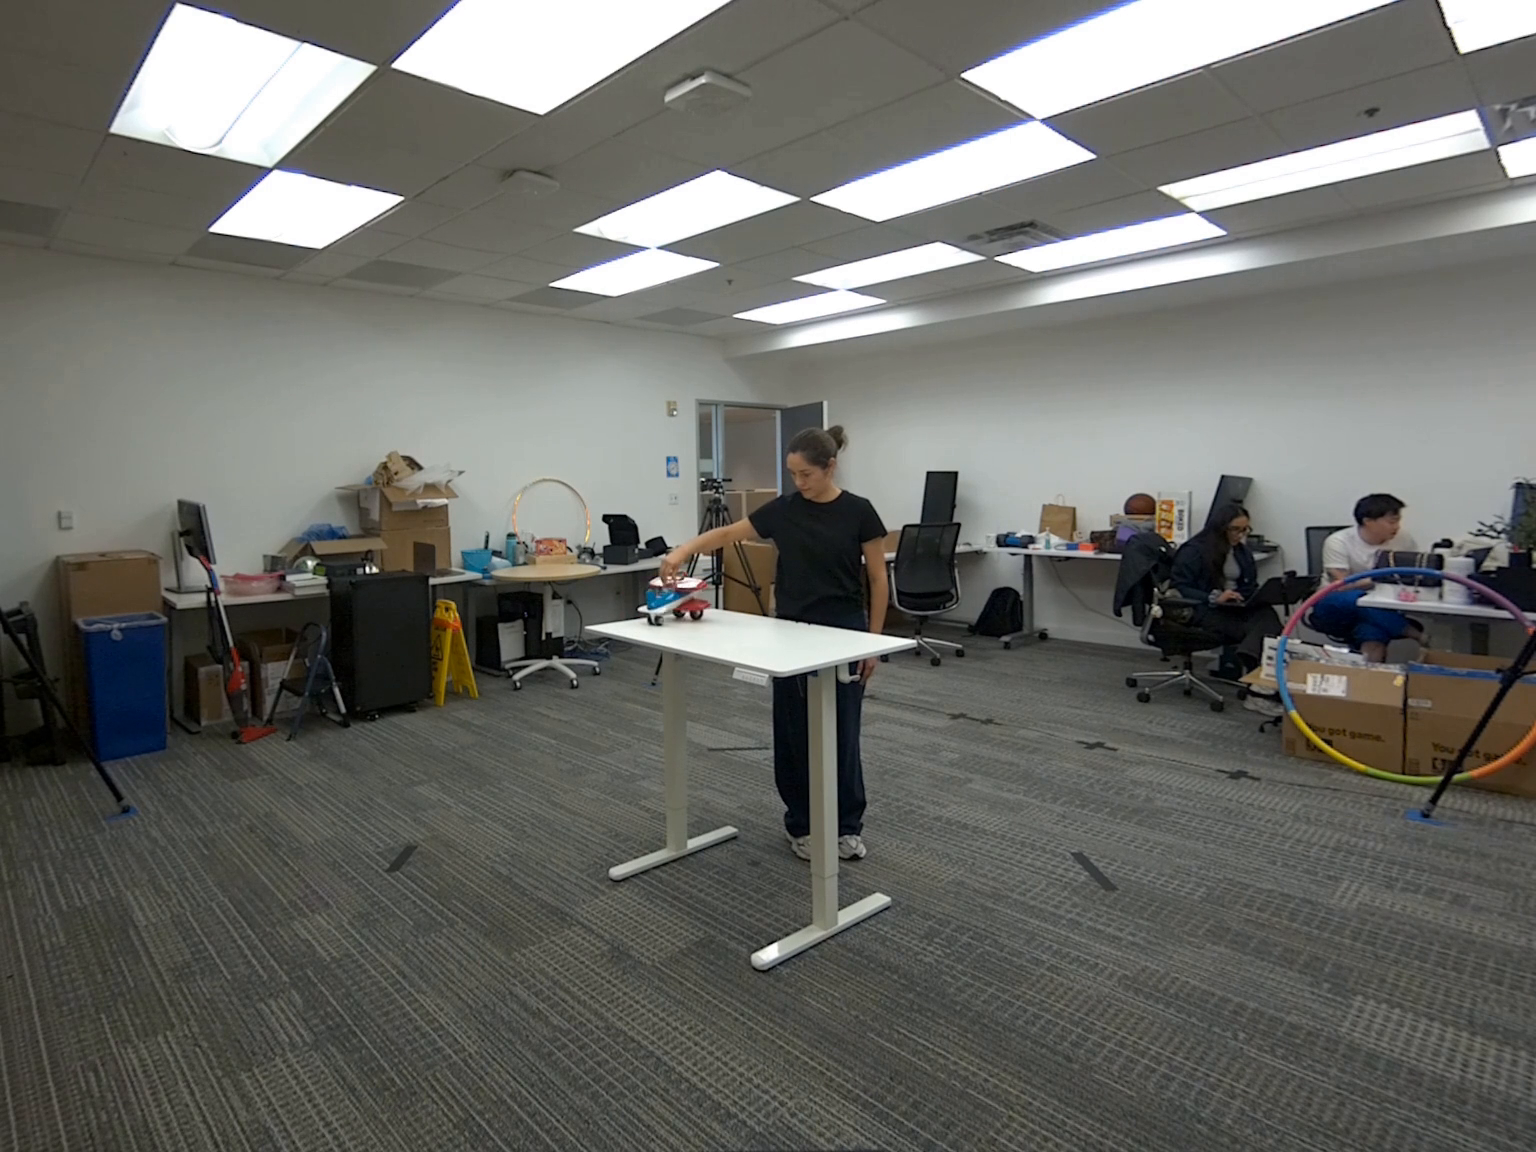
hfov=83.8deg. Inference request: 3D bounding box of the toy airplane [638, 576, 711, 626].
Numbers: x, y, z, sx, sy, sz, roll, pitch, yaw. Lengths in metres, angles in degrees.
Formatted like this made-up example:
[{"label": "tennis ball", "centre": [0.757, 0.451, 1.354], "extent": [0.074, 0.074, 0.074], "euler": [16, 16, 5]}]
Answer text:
[{"label": "toy airplane", "centre": [-0.331, 0.090, 3.114], "extent": [0.253, 0.156, 0.258], "euler": [0, 5, 8]}]
